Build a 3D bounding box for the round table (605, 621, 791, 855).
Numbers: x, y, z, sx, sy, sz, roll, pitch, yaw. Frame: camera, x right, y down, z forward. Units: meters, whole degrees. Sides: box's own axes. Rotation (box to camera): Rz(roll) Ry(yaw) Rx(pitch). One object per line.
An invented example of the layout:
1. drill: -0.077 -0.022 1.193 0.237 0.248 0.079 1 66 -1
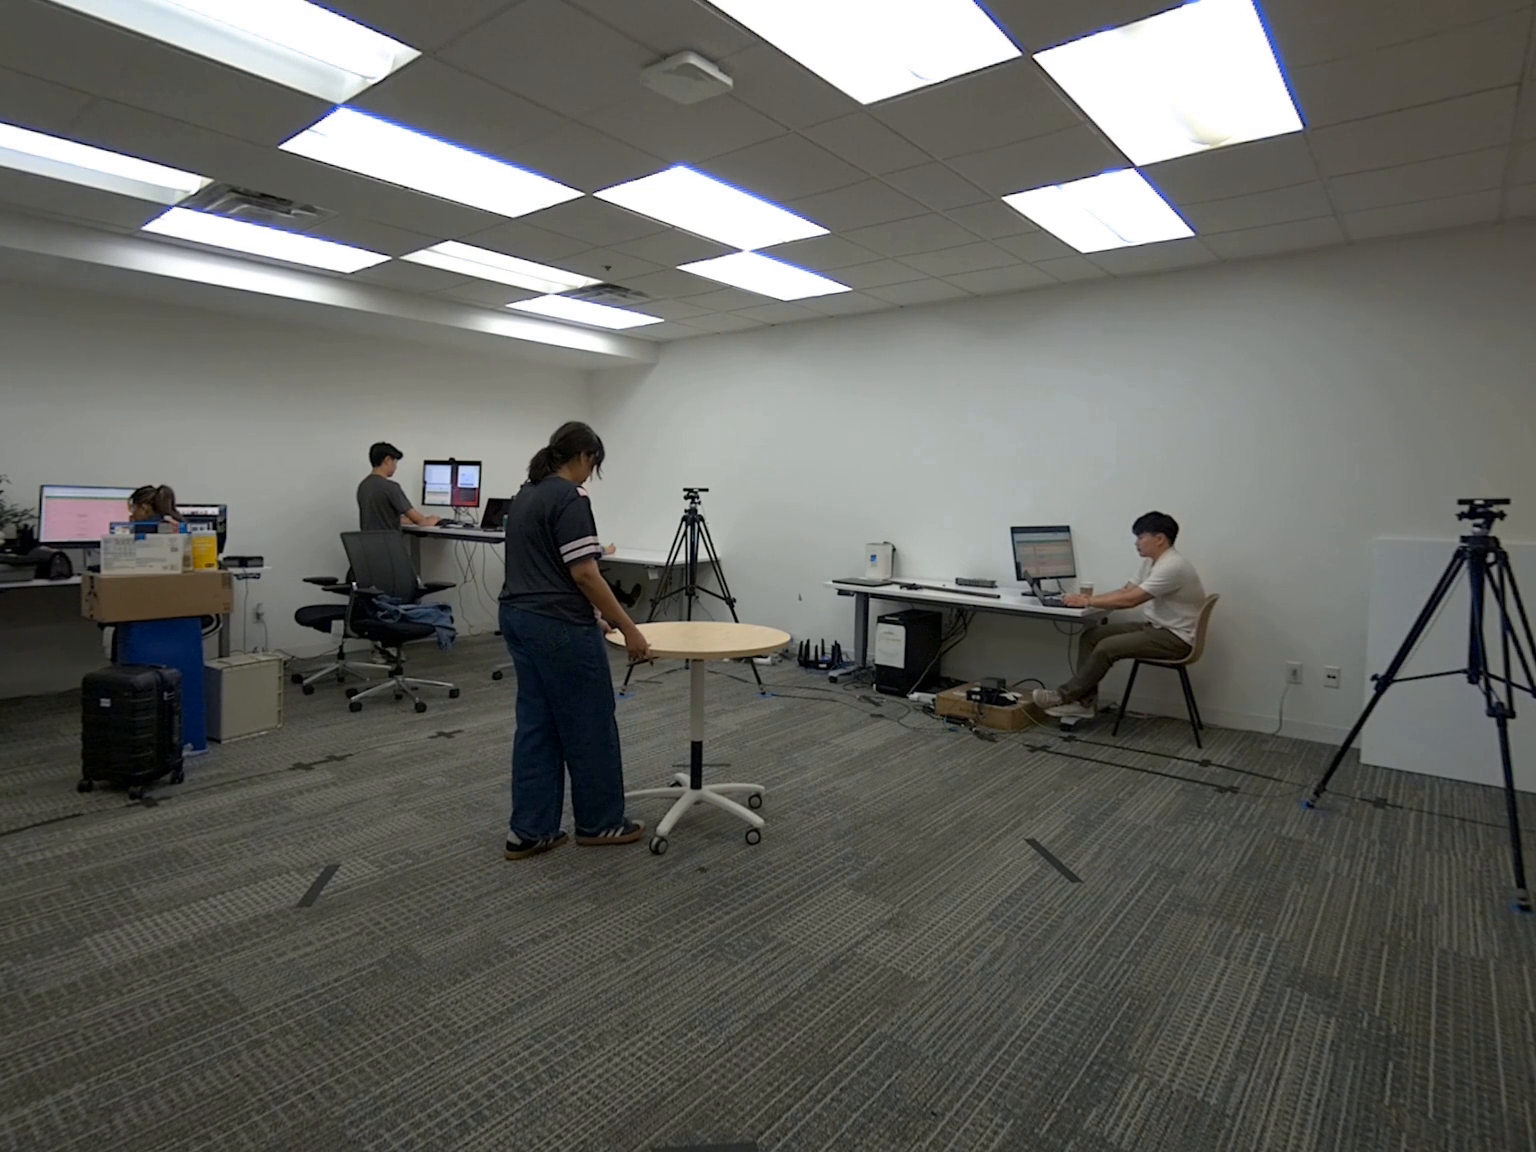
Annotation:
1. round table: -0.303 0.638 3.543 0.763 0.792 0.767 1 4 -2
